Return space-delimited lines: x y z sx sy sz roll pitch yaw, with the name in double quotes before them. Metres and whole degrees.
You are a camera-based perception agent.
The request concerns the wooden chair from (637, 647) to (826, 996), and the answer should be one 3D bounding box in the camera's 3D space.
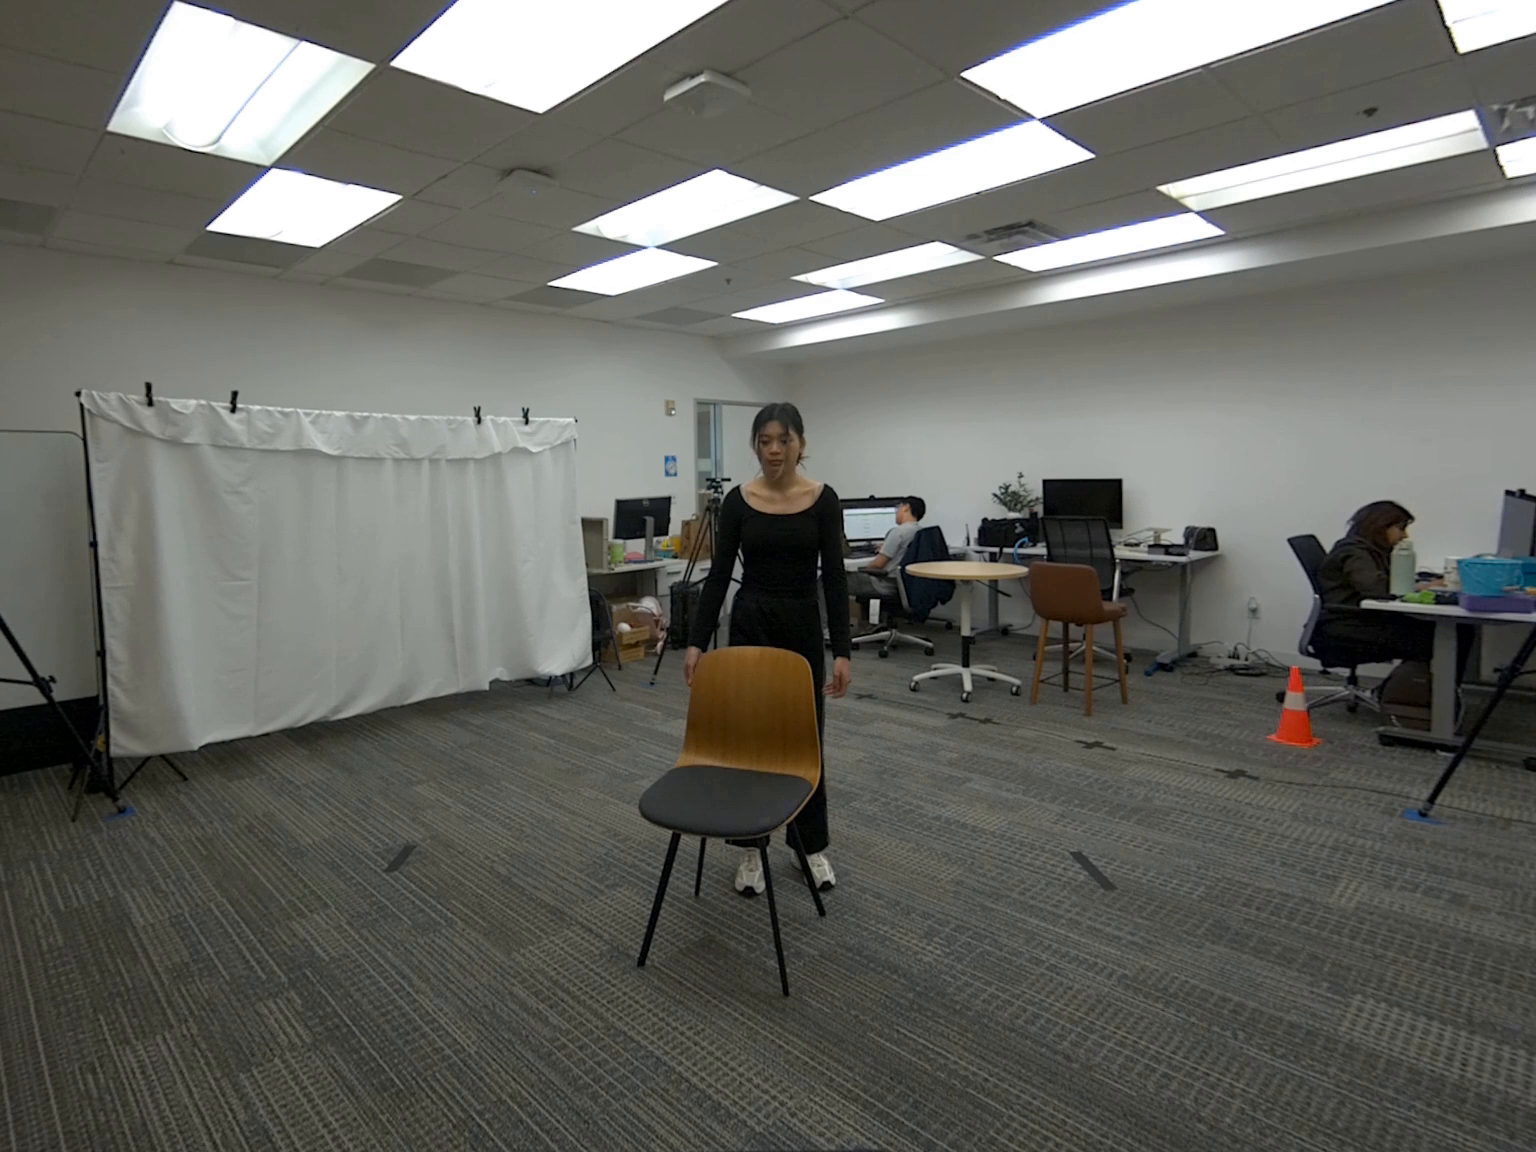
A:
"wooden chair" -0.099 0.681 2.552 0.487 0.877 0.514 1 0 19
